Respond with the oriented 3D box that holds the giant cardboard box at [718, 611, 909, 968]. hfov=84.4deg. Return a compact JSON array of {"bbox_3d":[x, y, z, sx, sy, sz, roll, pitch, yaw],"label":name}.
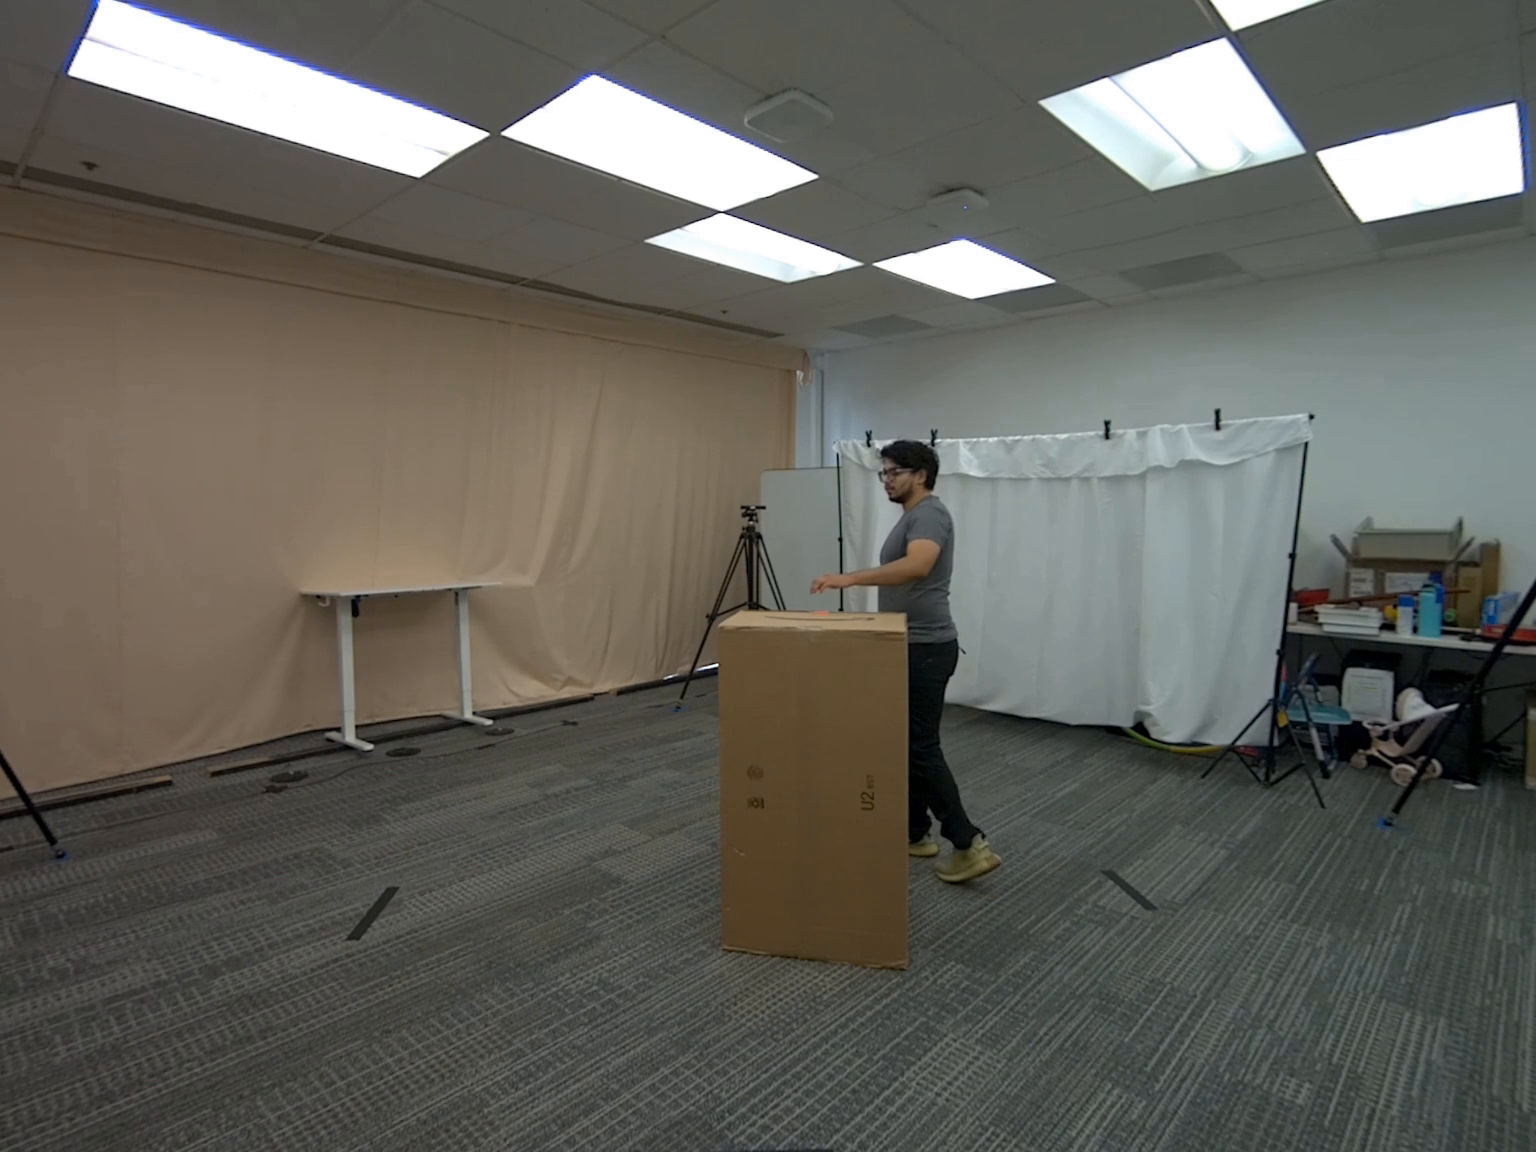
[{"bbox_3d":[0.164,0.650,2.763,0.585,1.024,0.421,0,3,11],"label":"giant cardboard box"}]
